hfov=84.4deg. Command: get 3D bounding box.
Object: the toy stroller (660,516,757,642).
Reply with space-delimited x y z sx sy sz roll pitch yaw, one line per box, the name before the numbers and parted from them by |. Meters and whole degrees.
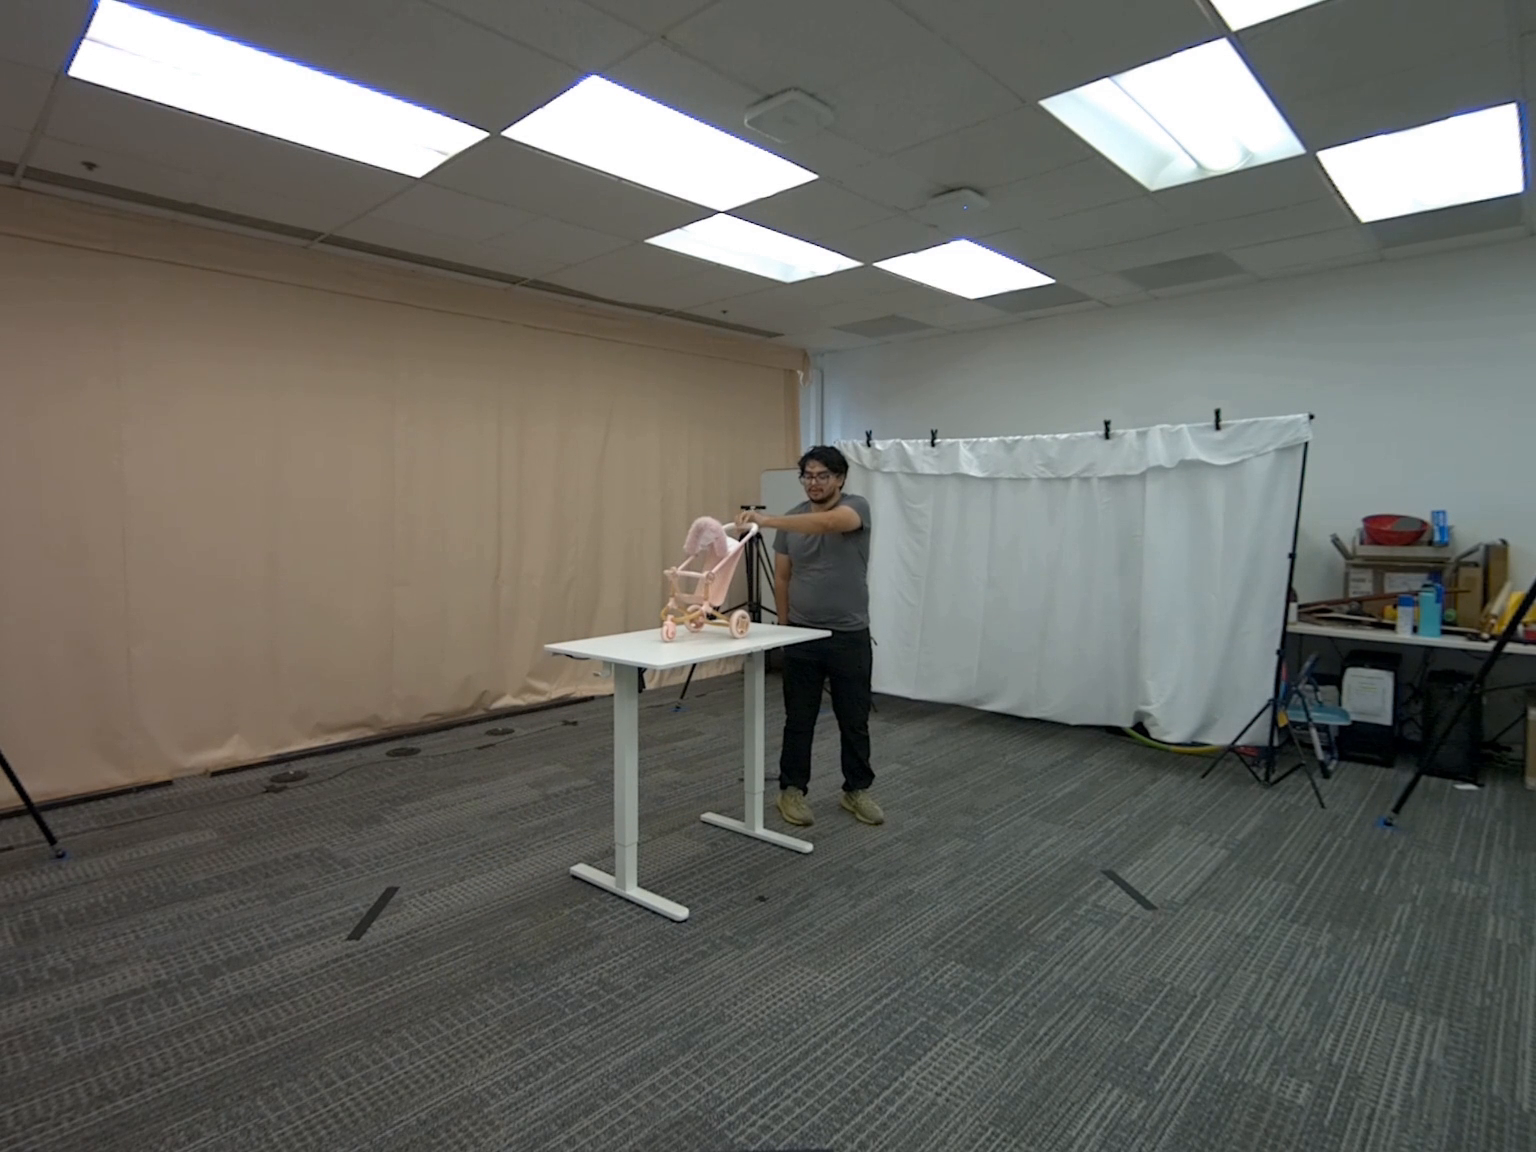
toy stroller | -0.245 0.012 3.278 0.329 0.536 0.291 17 -10 -42
